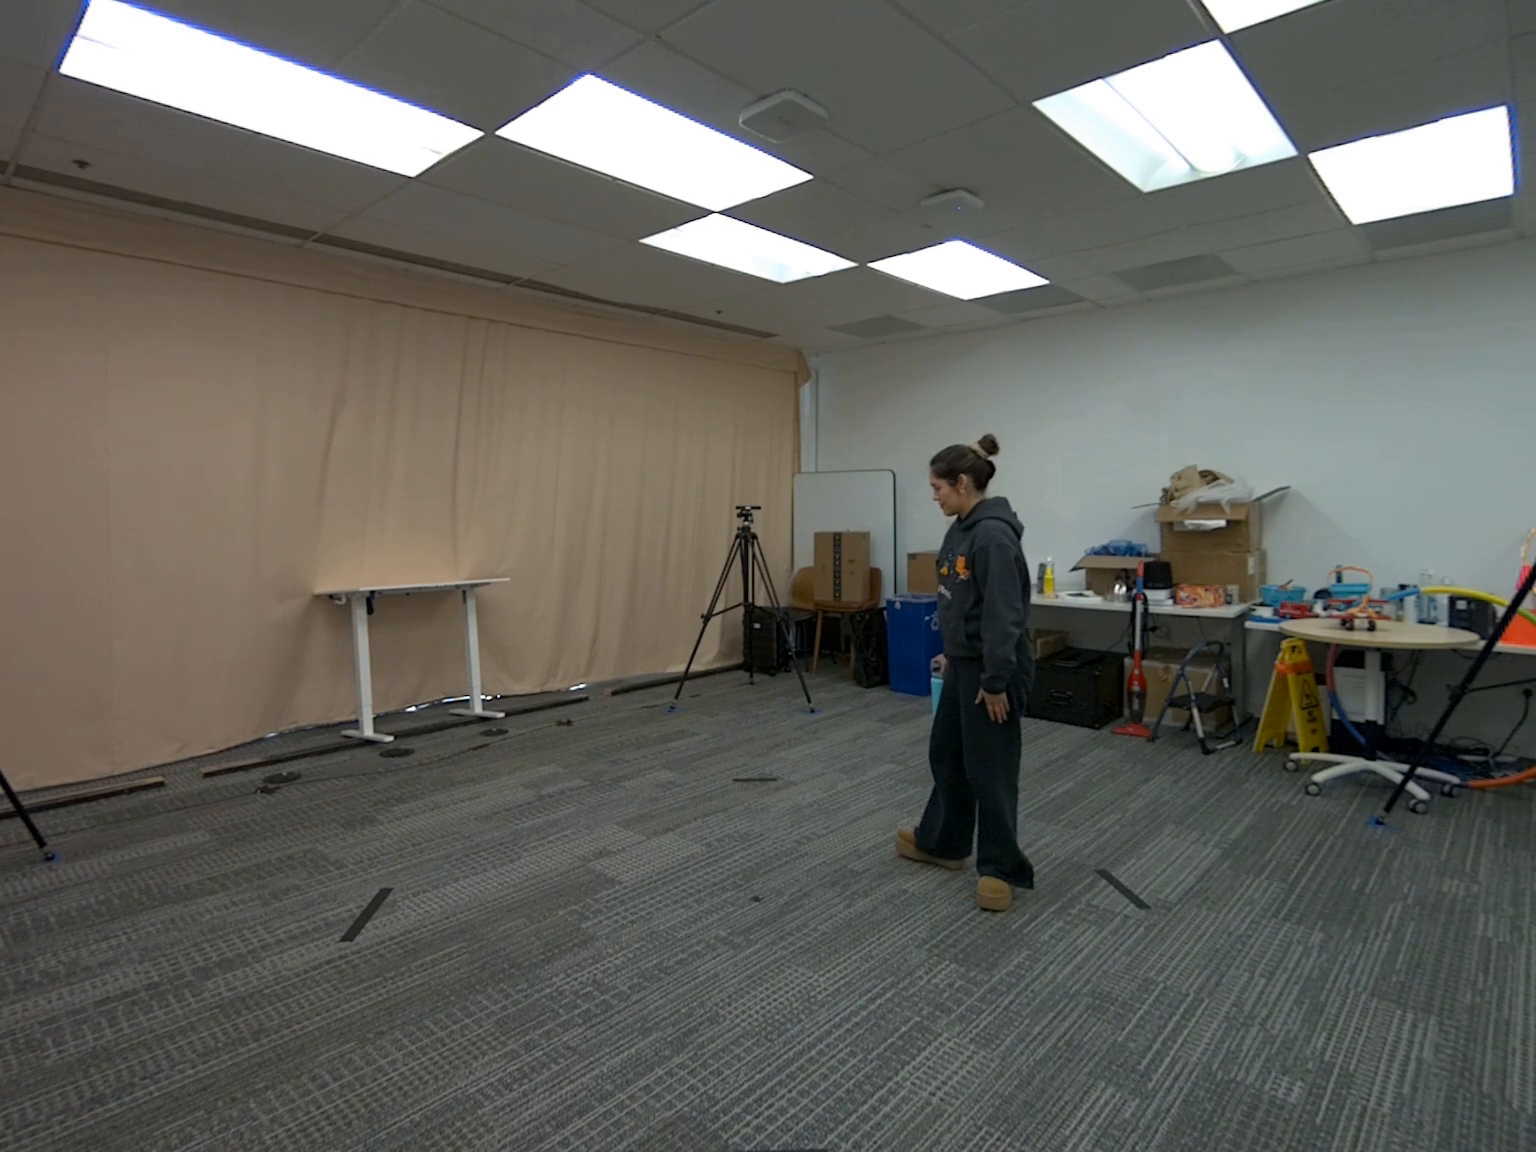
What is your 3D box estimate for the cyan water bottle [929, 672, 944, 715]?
[{"bbox_3d":[0.737,0.478,3.342,0.092,0.283,0.092,-4,3,-2],"label":"cyan water bottle"}]
